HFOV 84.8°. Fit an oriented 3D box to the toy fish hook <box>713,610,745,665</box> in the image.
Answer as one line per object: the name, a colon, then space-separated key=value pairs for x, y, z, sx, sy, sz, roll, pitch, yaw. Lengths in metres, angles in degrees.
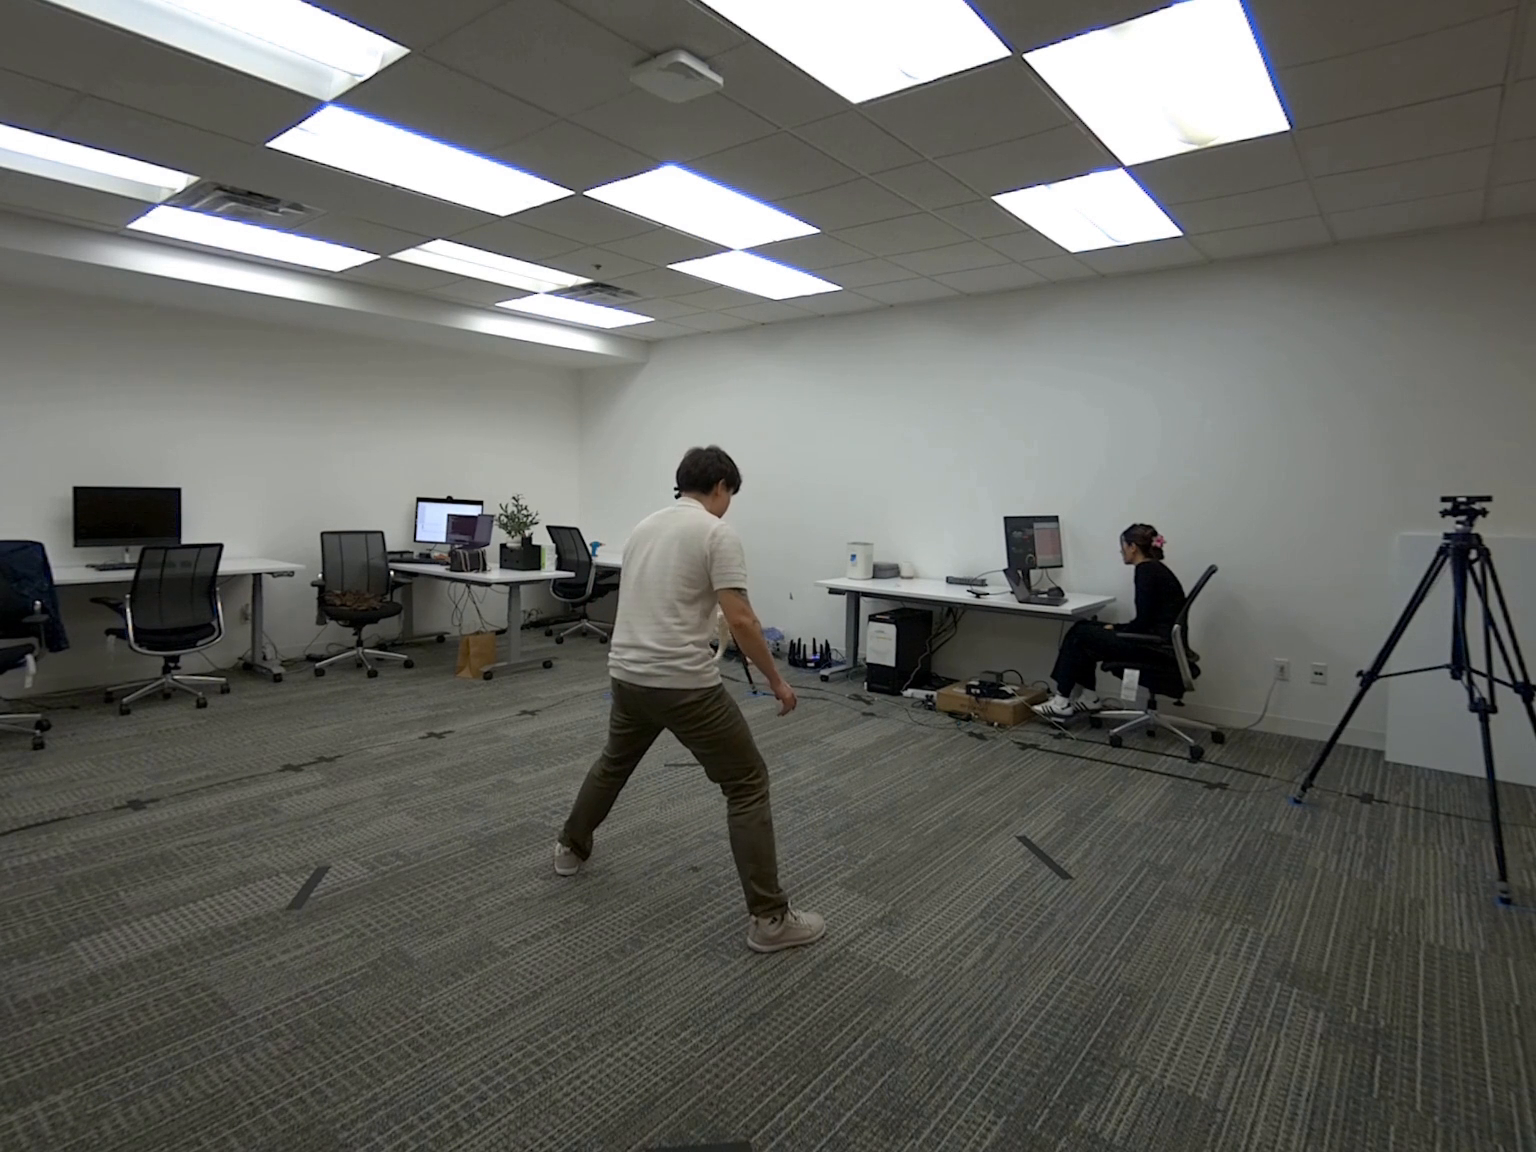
toy fish hook: x=-0.261 y=0.310 z=3.386 sx=0.049 sy=0.221 sz=0.502 roll=0 pitch=17 yaw=23
